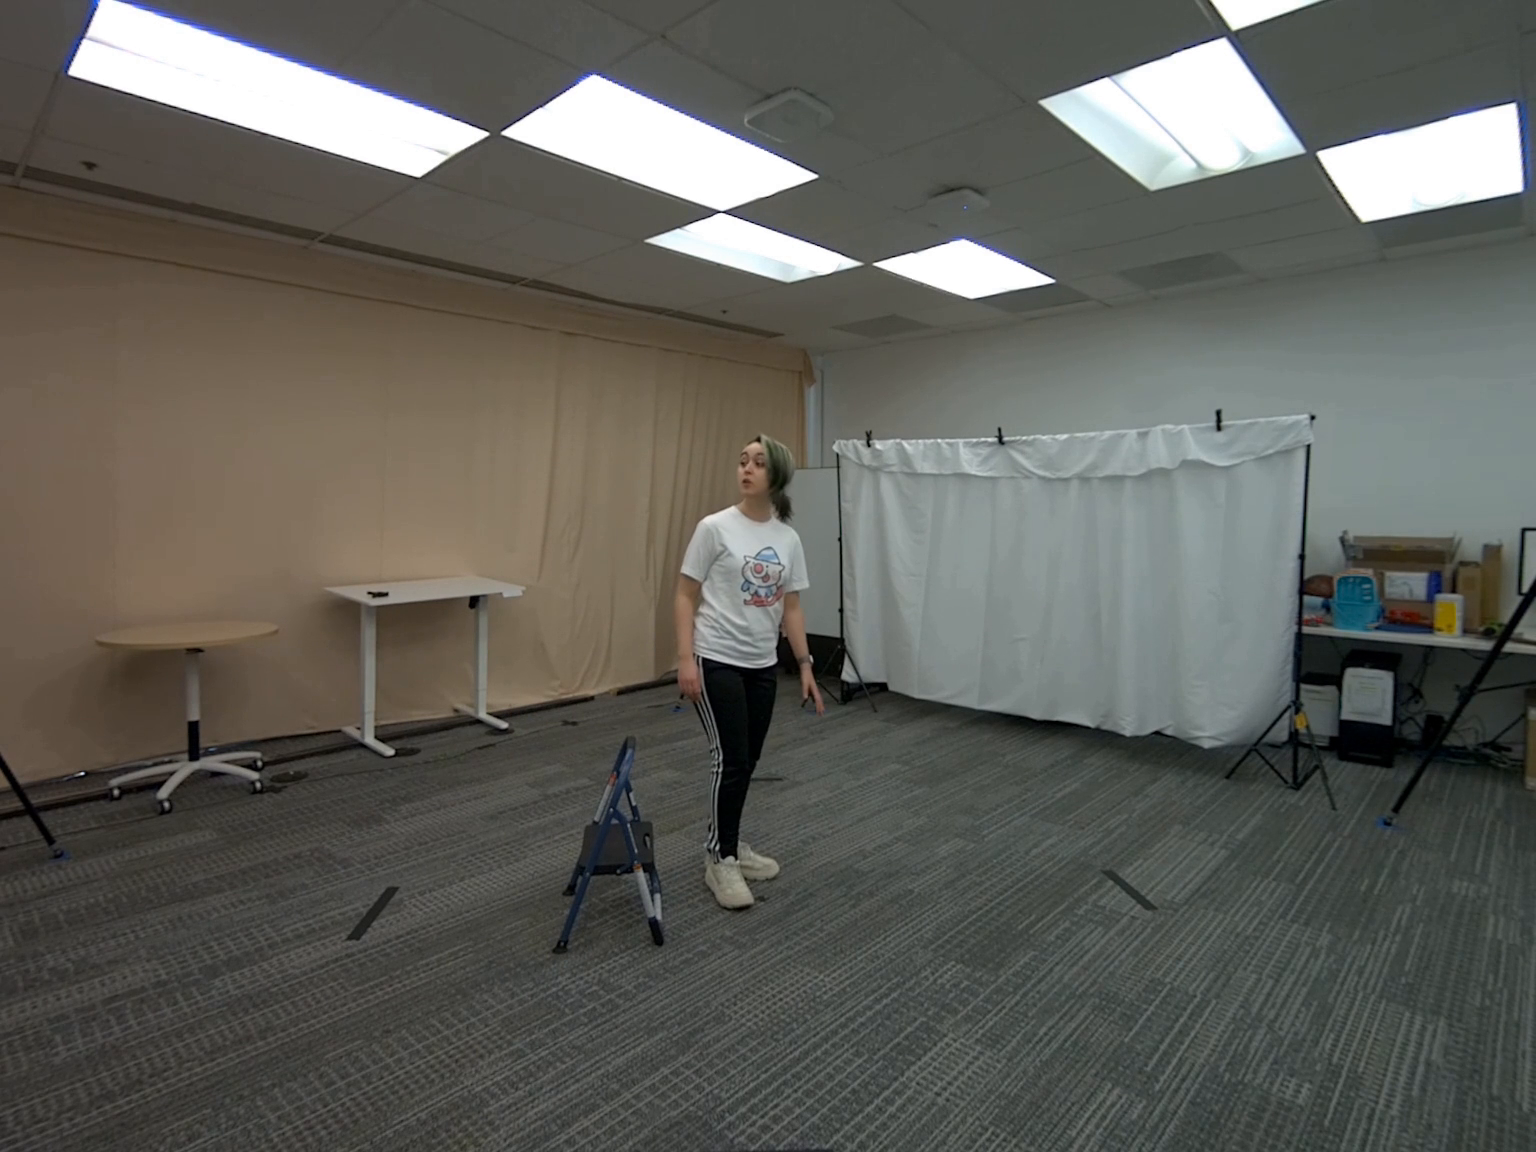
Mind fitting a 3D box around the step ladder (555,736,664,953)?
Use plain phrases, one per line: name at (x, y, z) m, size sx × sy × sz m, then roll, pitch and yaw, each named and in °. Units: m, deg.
step ladder at (-0.528, 0.858, 2.835) m, size 0.347 × 0.605 × 0.435 m, roll -1°, pitch 4°, yaw -8°
